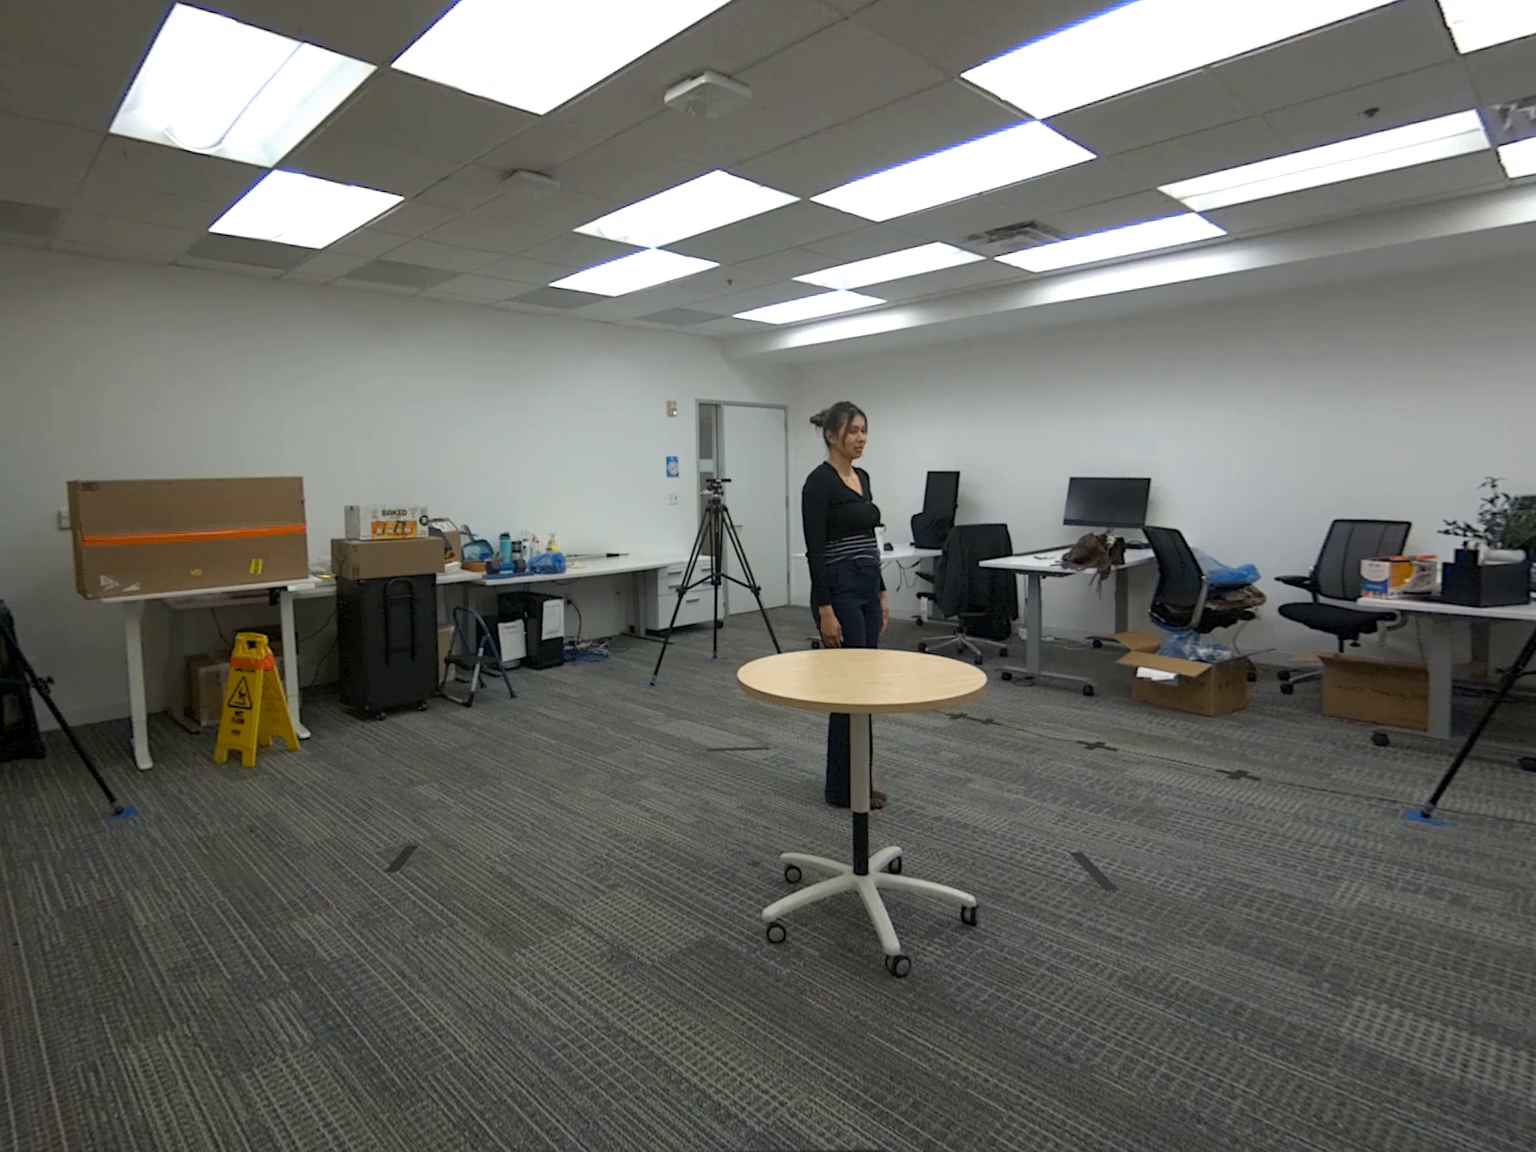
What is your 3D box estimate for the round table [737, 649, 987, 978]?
[{"bbox_3d":[0.298,0.696,2.705,0.763,0.791,0.768,-1,5,-2],"label":"round table"}]
